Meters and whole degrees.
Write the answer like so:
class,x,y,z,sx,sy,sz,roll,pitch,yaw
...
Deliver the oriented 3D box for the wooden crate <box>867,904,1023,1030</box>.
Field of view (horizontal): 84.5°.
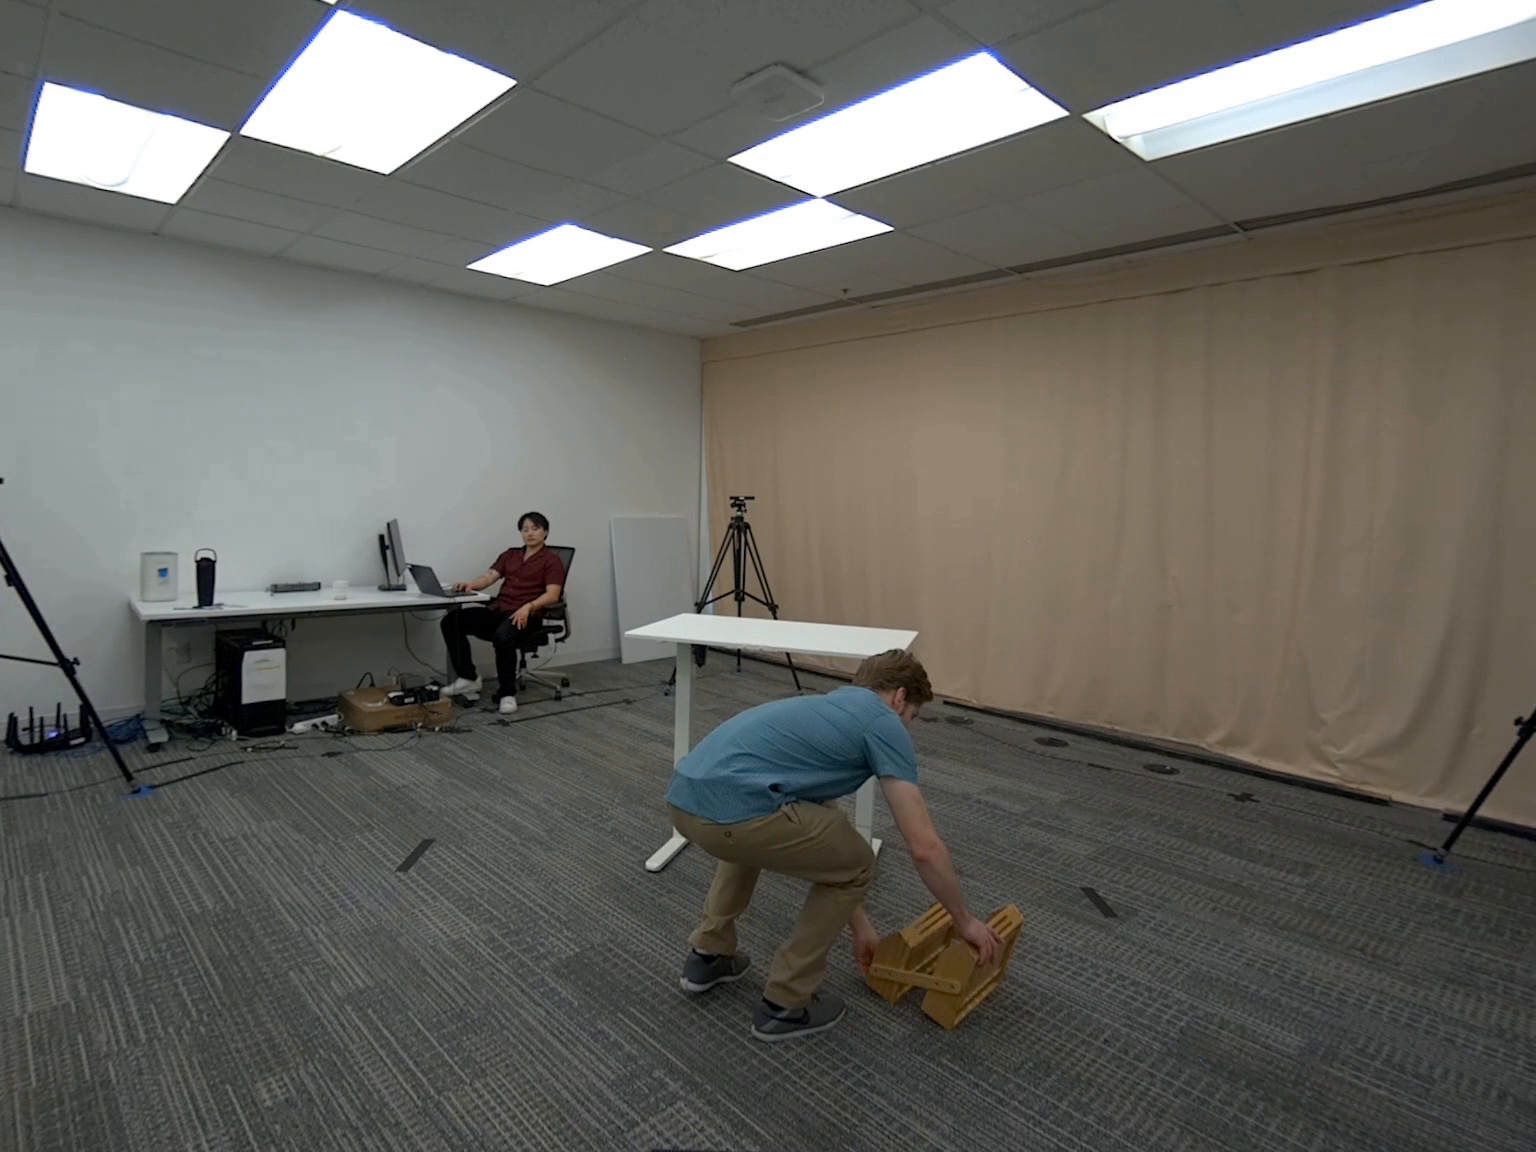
class,x,y,z,sx,sy,sz,roll,pitch,yaw
wooden crate,0.489,1.052,2.386,0.281,0.300,0.317,26,19,37
